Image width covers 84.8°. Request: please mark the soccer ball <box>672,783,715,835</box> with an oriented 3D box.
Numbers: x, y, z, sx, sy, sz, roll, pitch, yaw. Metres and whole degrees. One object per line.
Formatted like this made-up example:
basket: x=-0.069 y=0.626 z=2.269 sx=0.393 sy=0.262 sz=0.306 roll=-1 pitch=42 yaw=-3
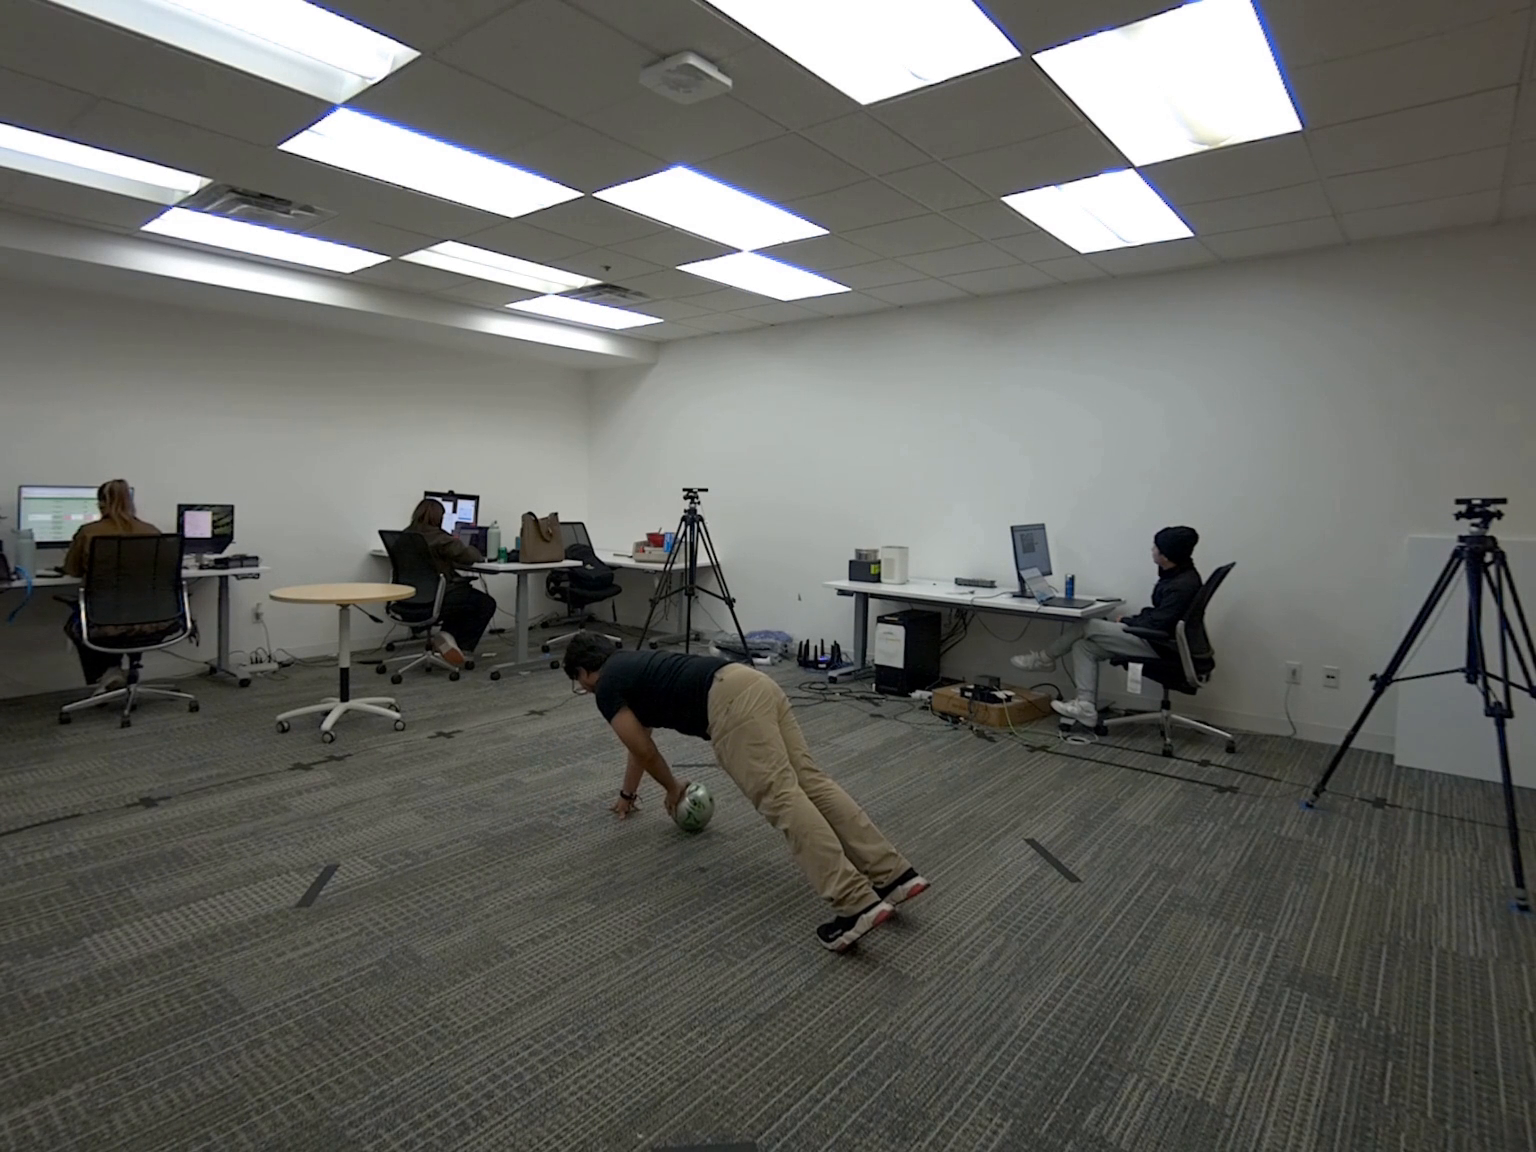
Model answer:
soccer ball: x=-0.325 y=0.940 z=3.480 sx=0.187 sy=0.187 sz=0.188 roll=1 pitch=4 yaw=-2
